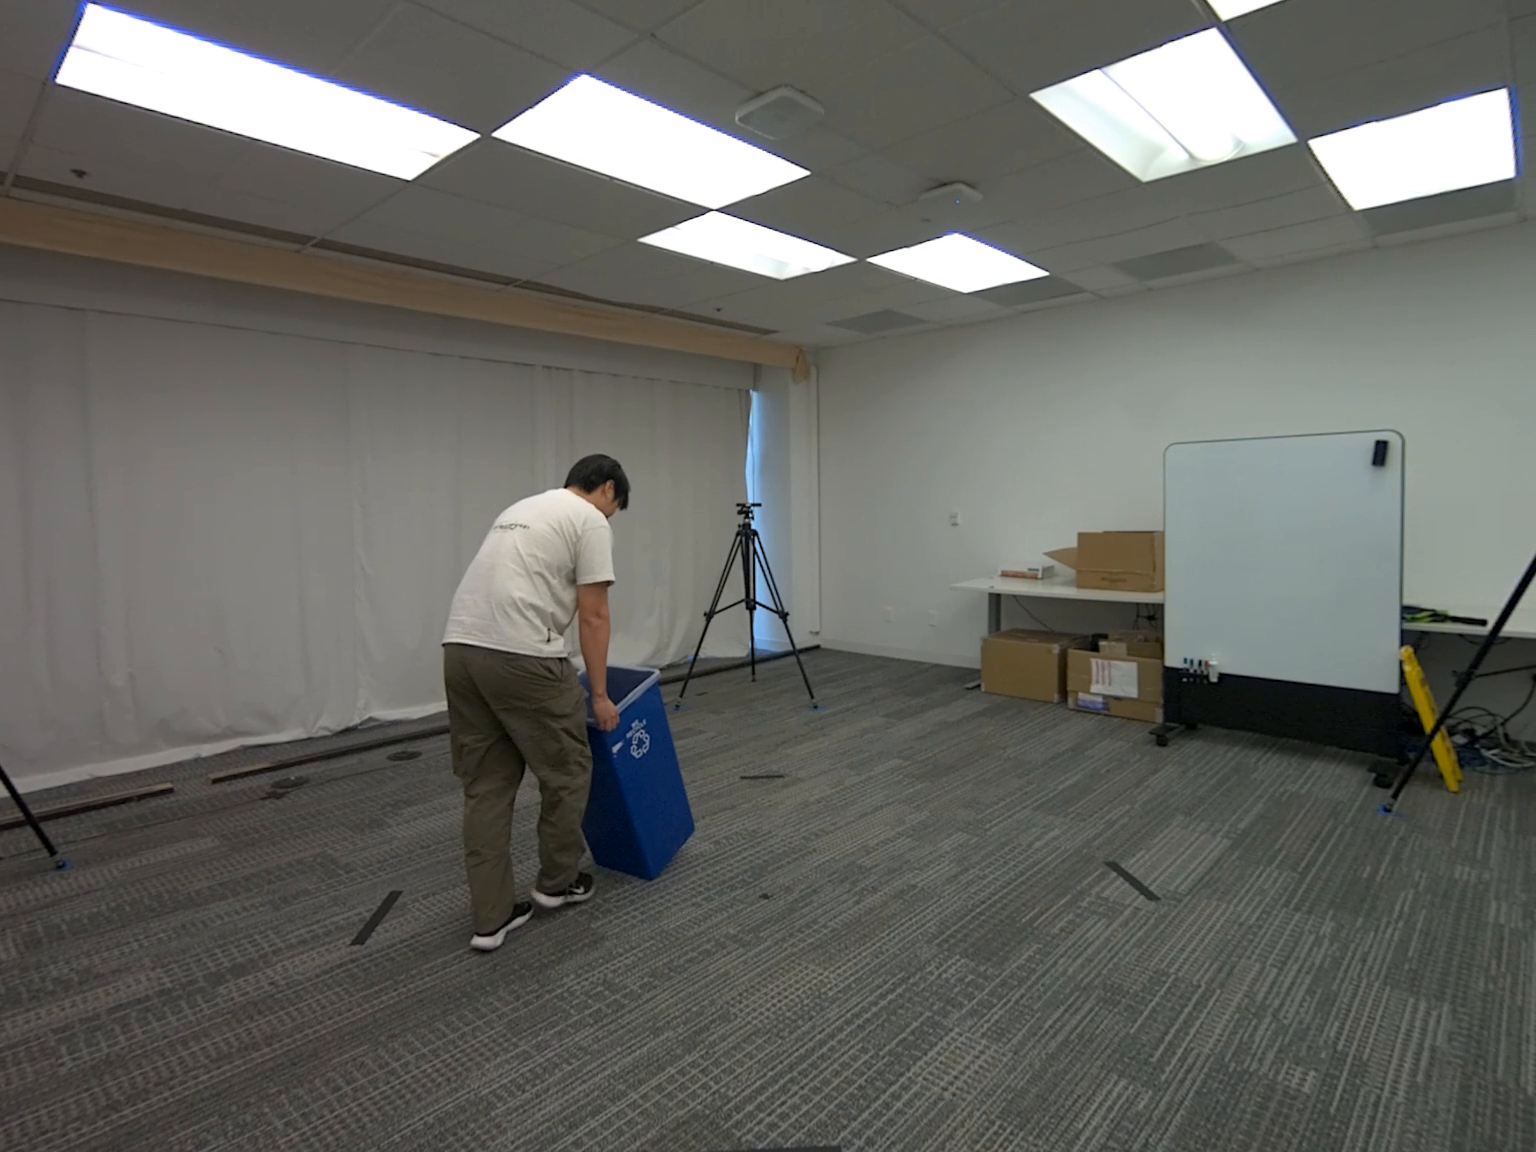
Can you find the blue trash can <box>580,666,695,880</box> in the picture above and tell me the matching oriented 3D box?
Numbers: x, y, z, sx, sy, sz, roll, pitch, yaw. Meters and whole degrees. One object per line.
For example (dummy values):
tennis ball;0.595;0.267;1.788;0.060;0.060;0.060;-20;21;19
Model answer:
blue trash can;-0.557;0.741;3.211;0.390;0.702;0.369;1;24;34
